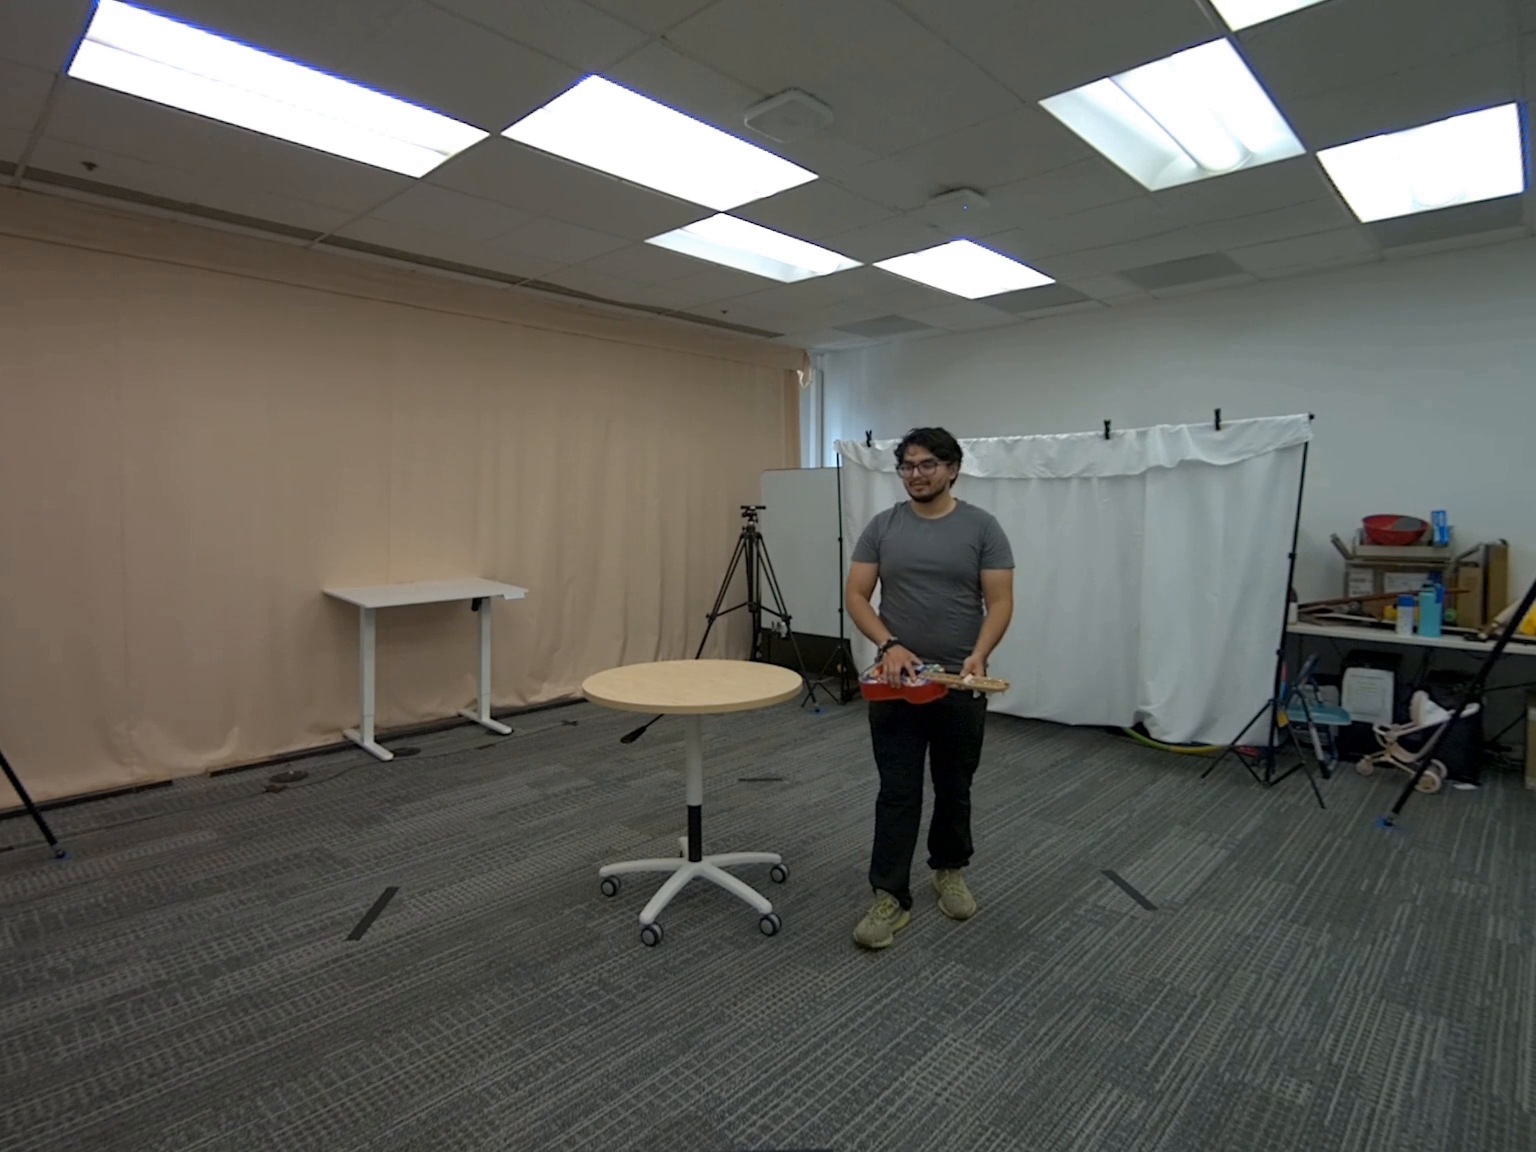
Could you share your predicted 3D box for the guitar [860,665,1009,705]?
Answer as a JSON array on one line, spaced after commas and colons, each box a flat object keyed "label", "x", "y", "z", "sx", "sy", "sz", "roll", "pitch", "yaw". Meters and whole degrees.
[{"label": "guitar", "x": 0.474, "y": 0.331, "z": 2.507, "sx": 0.189, "sy": 0.070, "sz": 0.513, "roll": -24, "pitch": 17, "yaw": -28}]
